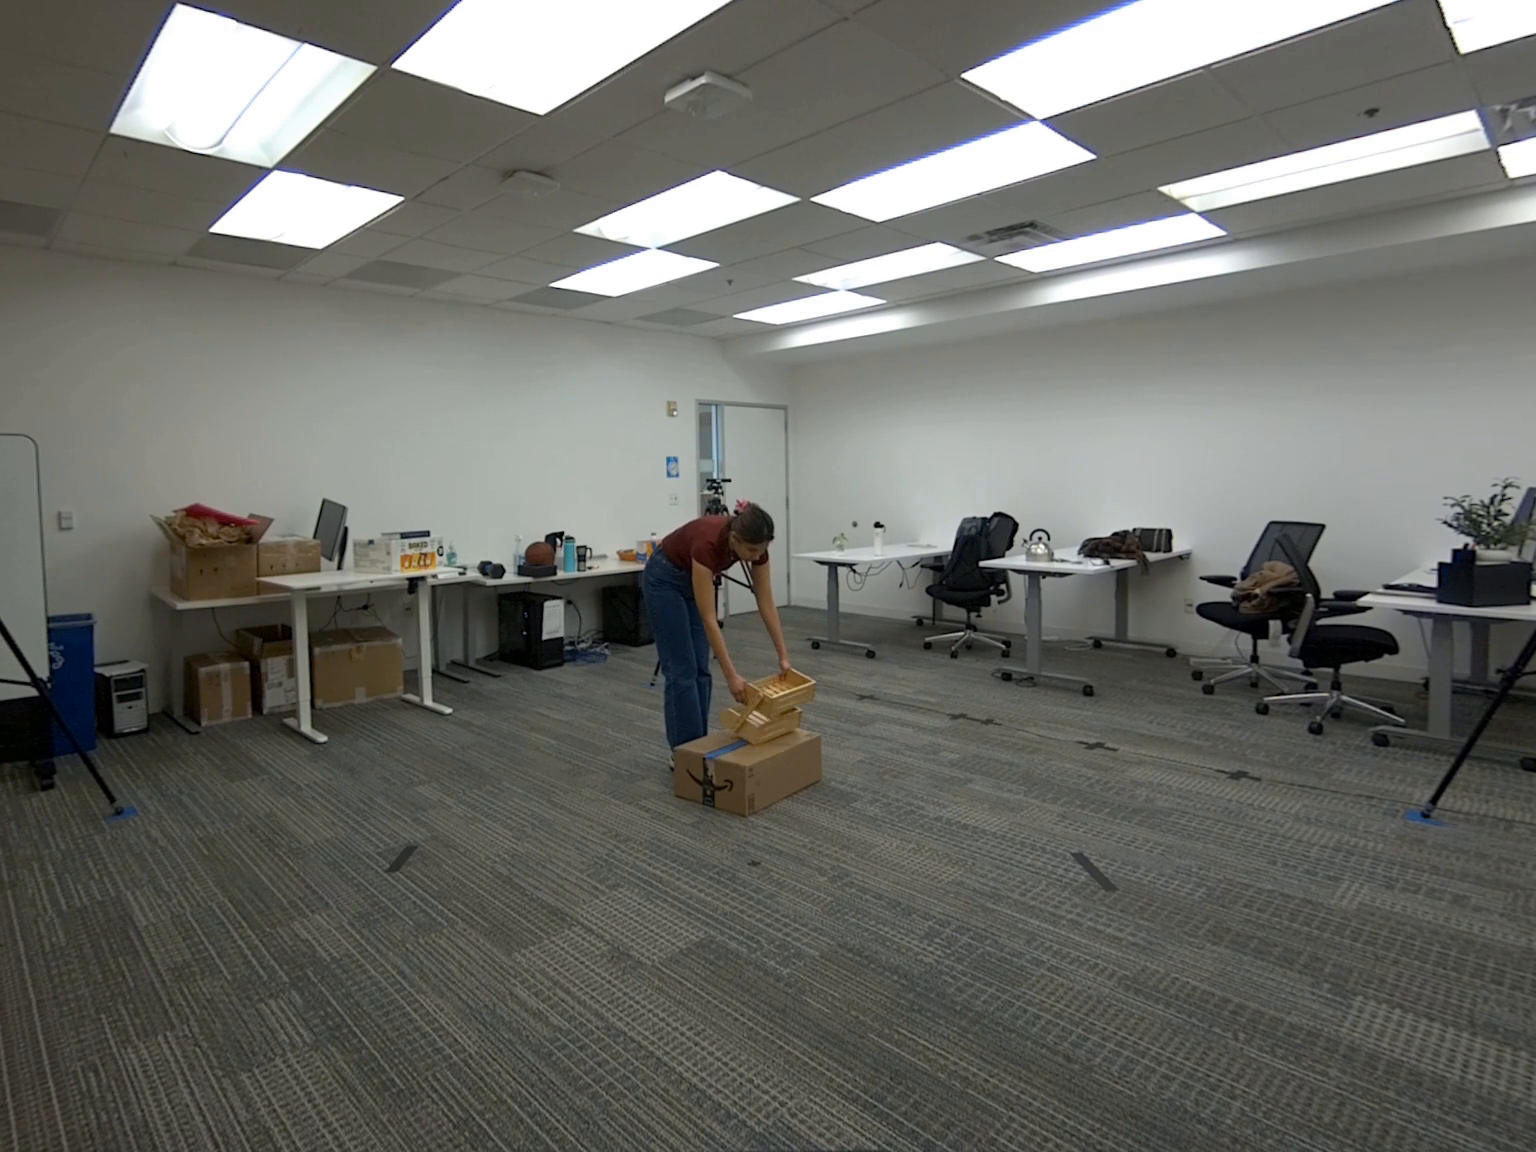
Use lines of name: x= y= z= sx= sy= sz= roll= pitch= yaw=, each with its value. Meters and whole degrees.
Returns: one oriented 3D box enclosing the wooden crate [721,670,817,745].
wooden crate: x=-0.014 y=0.568 z=3.914 sx=0.313 sy=0.270 sz=0.317 roll=23 pitch=23 yaw=39
